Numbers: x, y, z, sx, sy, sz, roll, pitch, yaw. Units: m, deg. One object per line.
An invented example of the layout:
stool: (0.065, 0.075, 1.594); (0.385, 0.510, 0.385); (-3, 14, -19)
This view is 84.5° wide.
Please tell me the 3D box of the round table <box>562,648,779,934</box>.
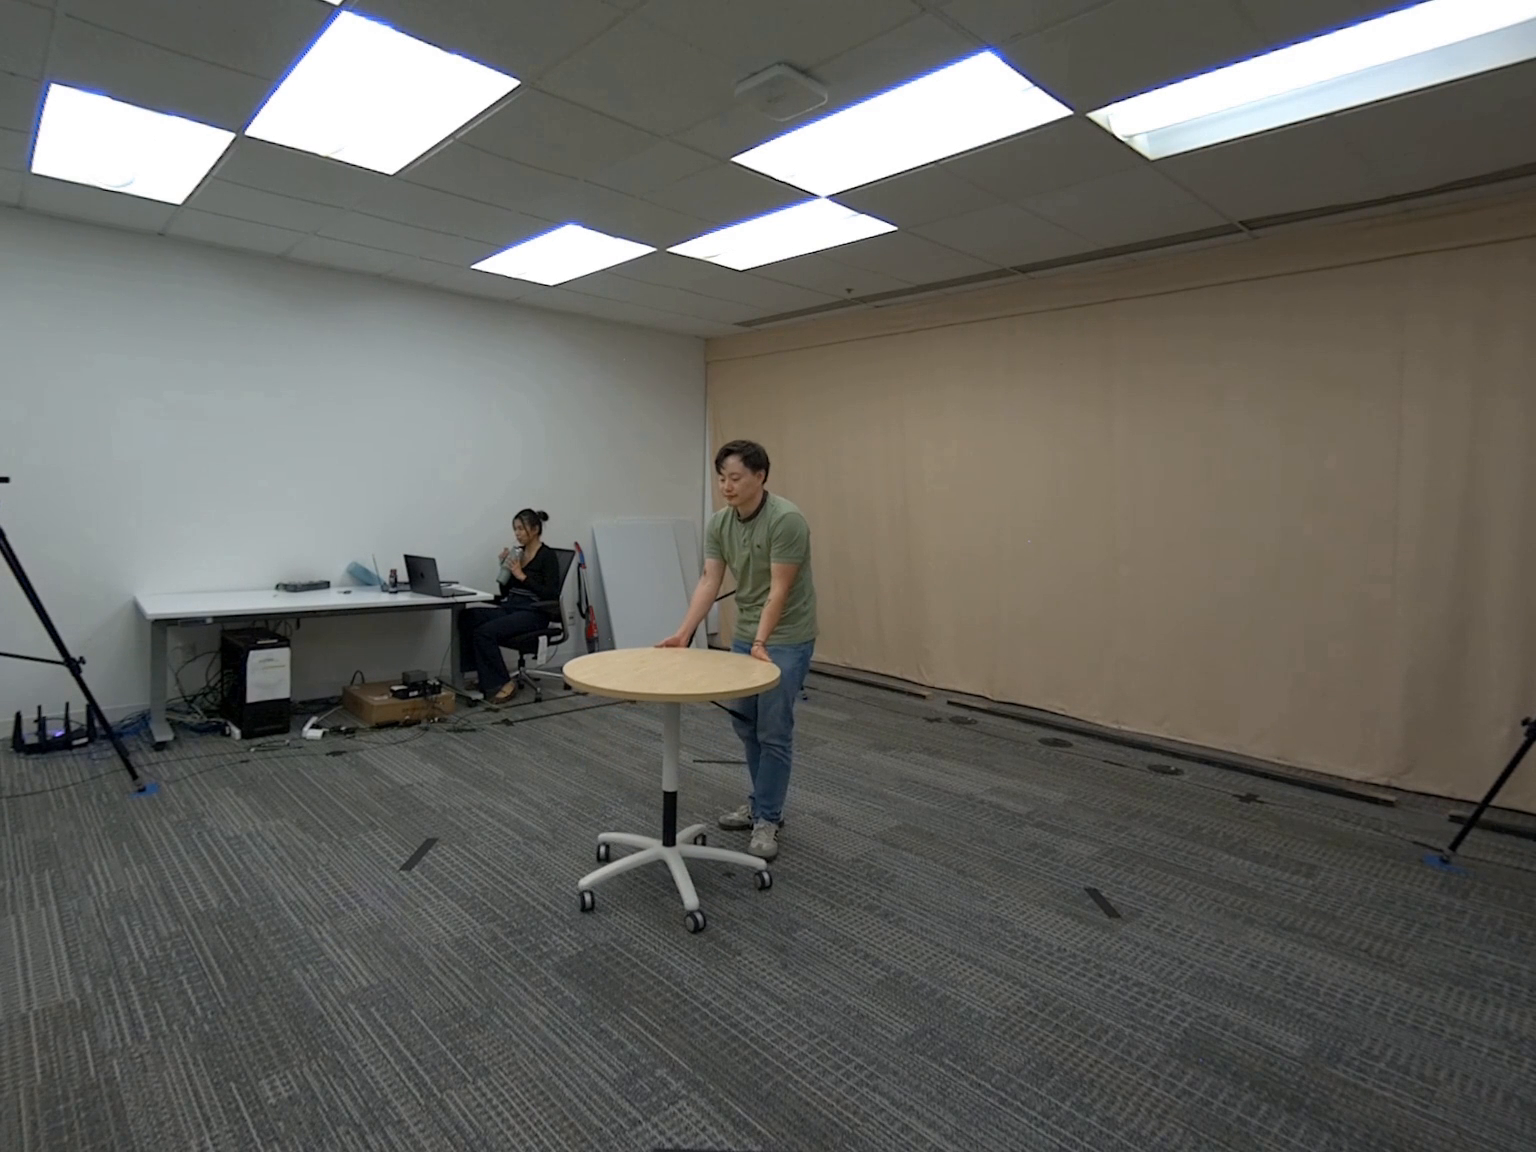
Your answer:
round table: (-0.358, 0.721, 2.998); (0.763, 0.792, 0.767); (1, 4, -1)
